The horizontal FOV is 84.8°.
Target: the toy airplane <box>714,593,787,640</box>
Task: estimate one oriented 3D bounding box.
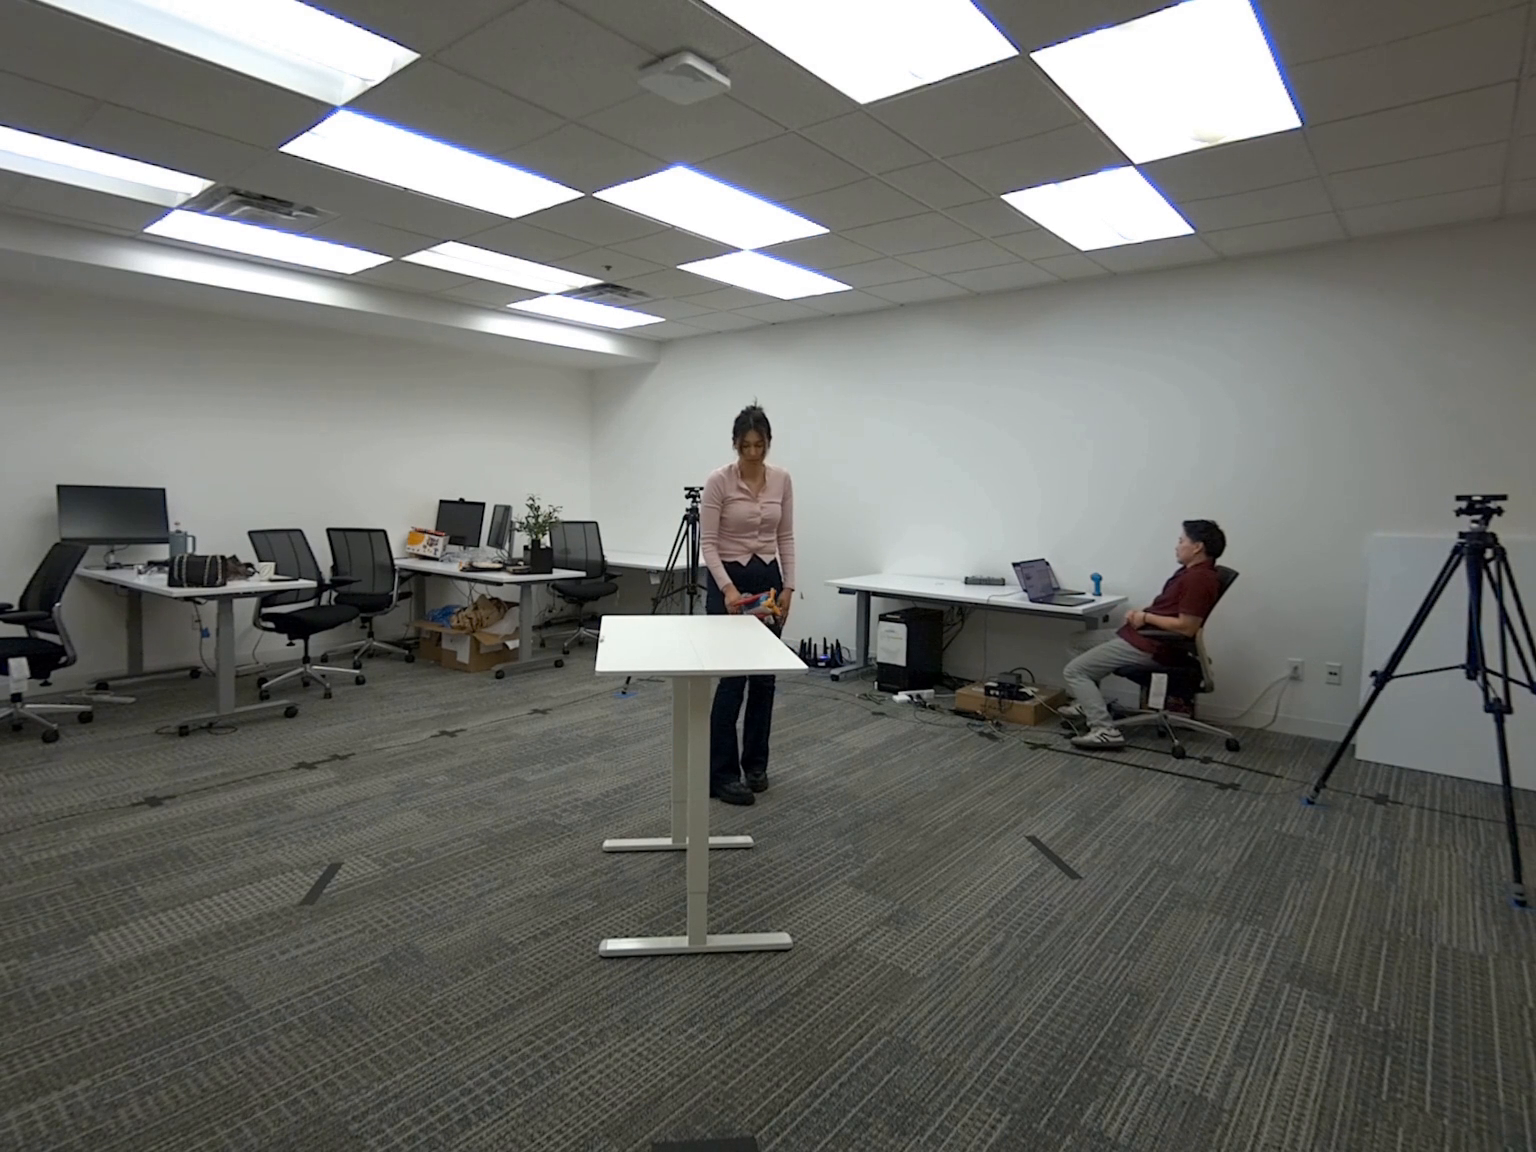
[{"bbox_3d":[-0.077,0.155,3.620,0.262,0.155,0.250,-7,7,12],"label":"toy airplane"}]
